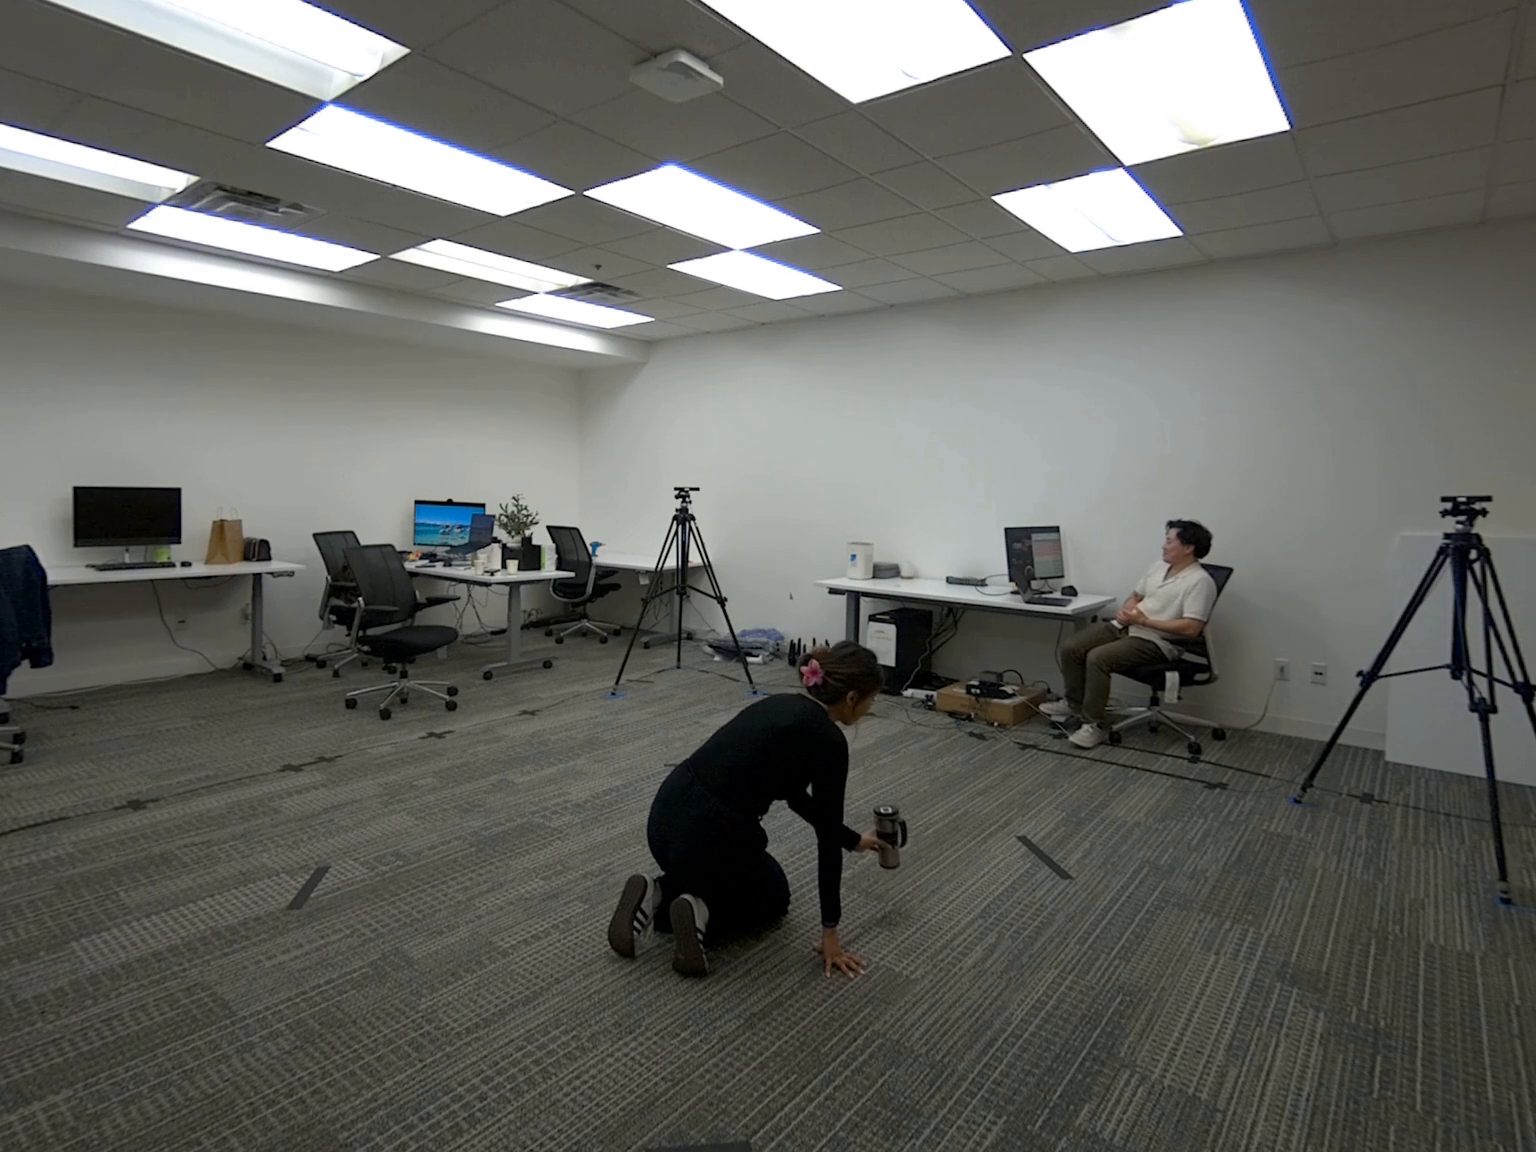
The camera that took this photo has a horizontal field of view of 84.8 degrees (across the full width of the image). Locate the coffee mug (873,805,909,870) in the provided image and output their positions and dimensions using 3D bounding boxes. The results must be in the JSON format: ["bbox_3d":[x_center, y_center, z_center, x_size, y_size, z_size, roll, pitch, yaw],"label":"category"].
[{"bbox_3d":[0.401,0.887,2.870,0.085,0.202,0.126,-7,5,-35],"label":"coffee mug"}]
